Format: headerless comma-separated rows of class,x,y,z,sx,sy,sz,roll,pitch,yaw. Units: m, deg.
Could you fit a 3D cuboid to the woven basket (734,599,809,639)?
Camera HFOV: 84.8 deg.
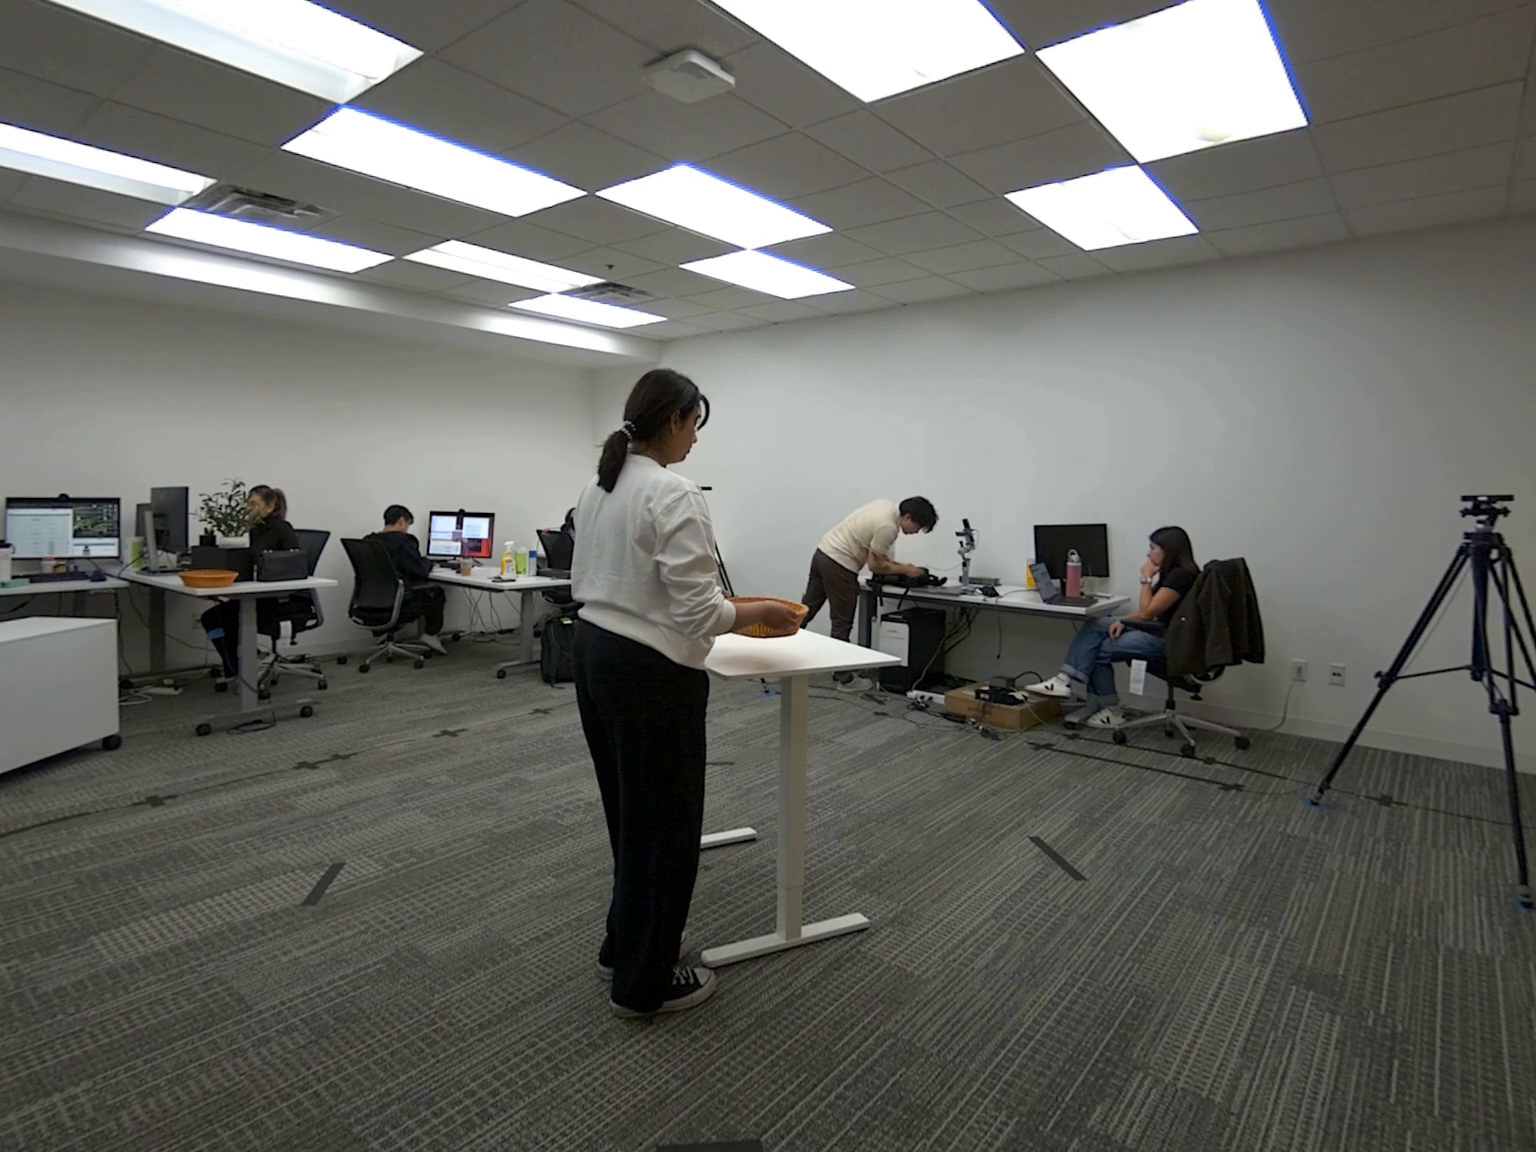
woven basket,-0.082,0.136,2.496,0.246,0.073,0.360,-8,8,-28
